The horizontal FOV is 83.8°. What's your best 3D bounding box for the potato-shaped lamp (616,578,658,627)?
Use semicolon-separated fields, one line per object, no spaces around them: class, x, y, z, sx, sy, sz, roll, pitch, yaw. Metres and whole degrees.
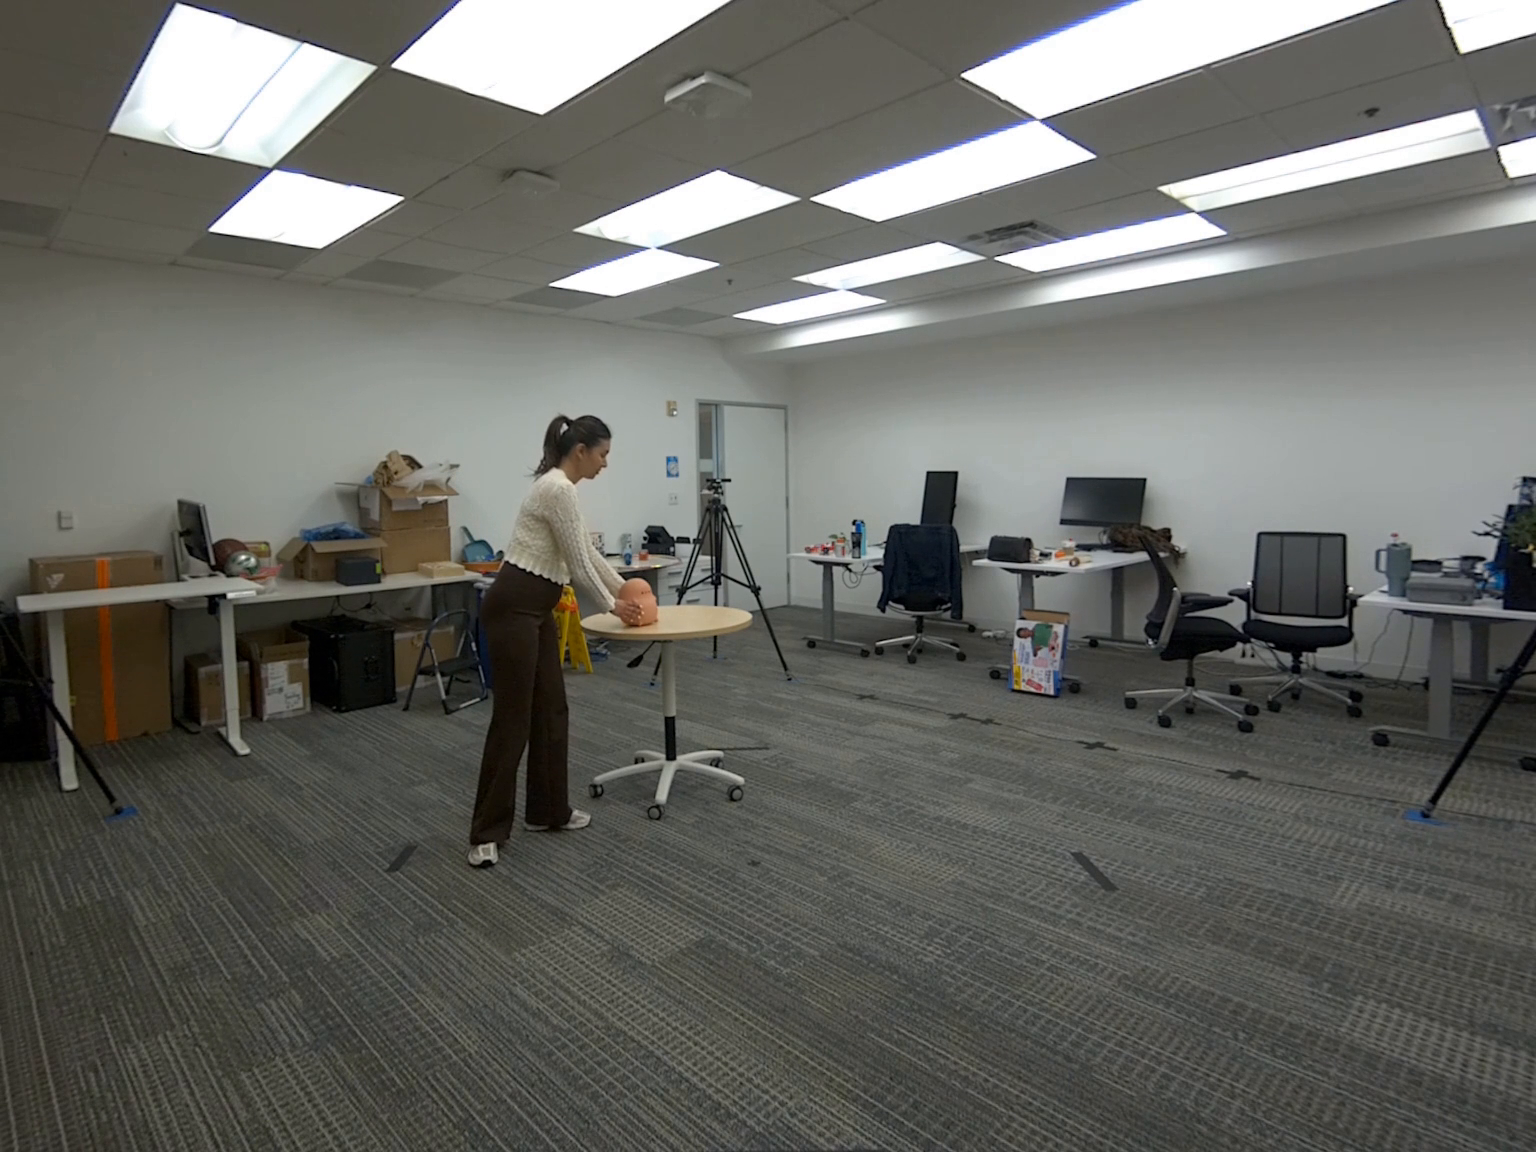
potato-shaped lamp;-0.564;0.109;3.681;0.176;0.197;0.161;2;9;43
